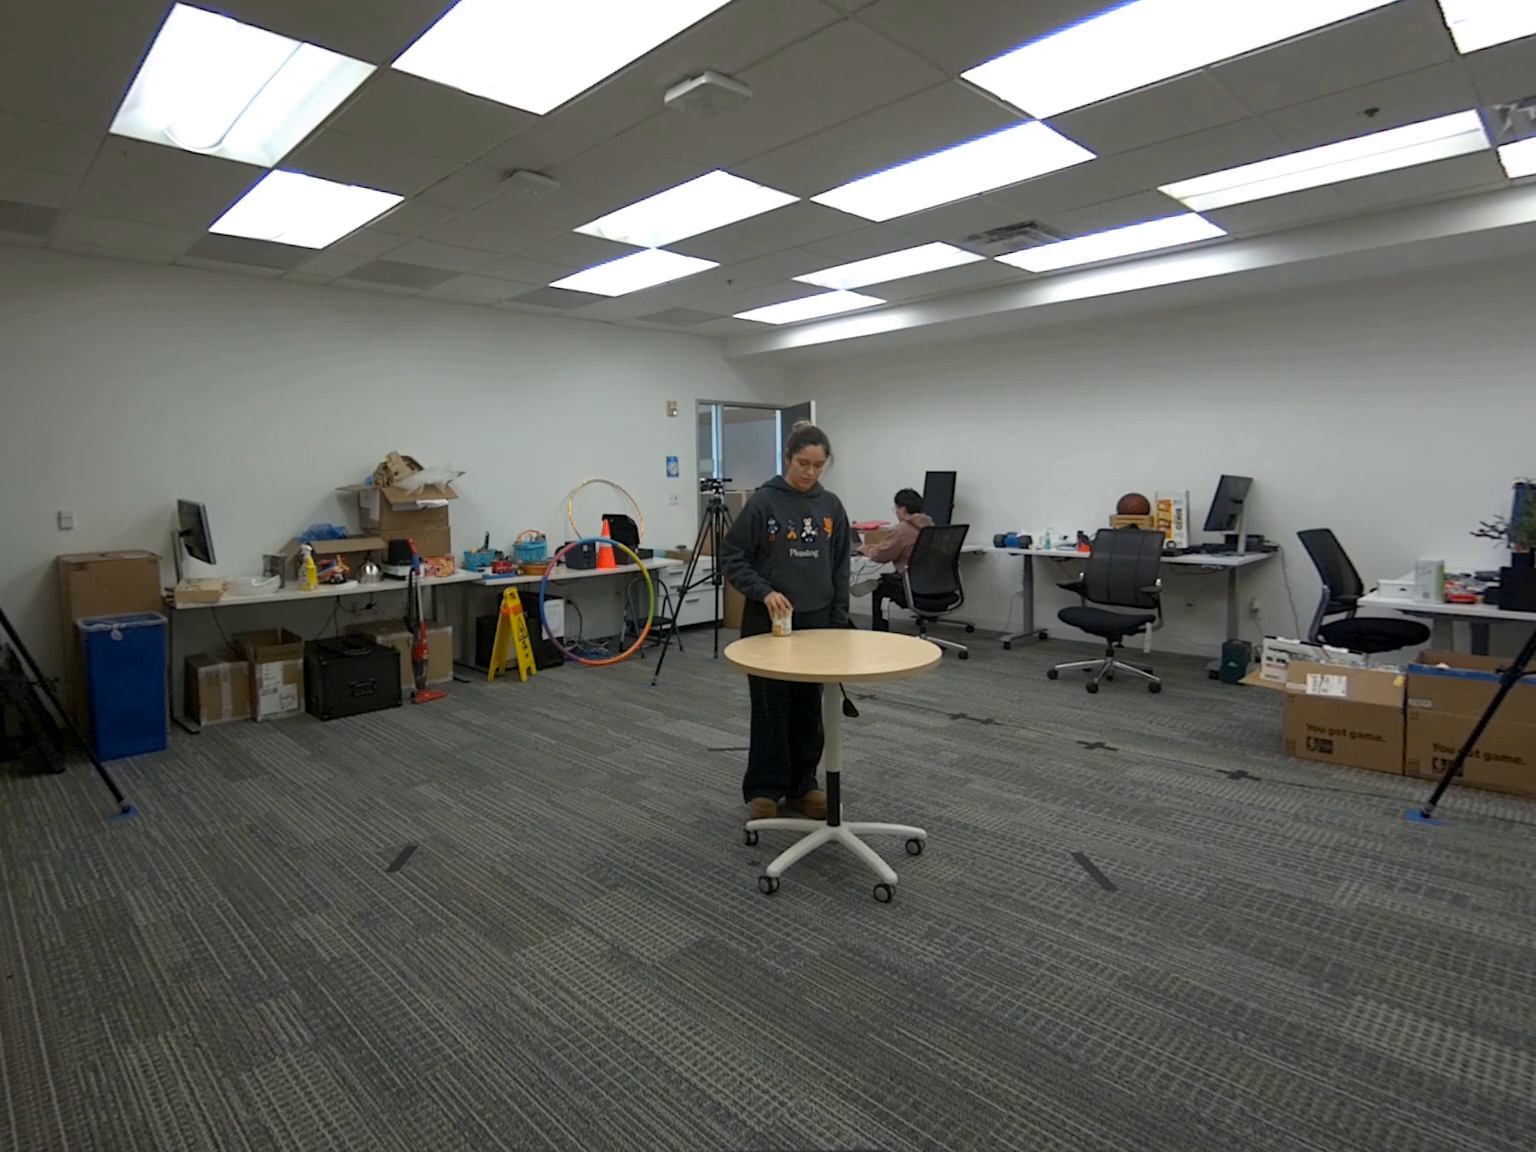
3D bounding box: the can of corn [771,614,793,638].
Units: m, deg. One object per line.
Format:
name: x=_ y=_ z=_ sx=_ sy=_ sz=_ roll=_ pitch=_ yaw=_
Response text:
can of corn: x=0.060 y=0.175 z=3.305 sx=0.074 sy=0.110 sz=0.075 roll=-1 pitch=7 yaw=-1
